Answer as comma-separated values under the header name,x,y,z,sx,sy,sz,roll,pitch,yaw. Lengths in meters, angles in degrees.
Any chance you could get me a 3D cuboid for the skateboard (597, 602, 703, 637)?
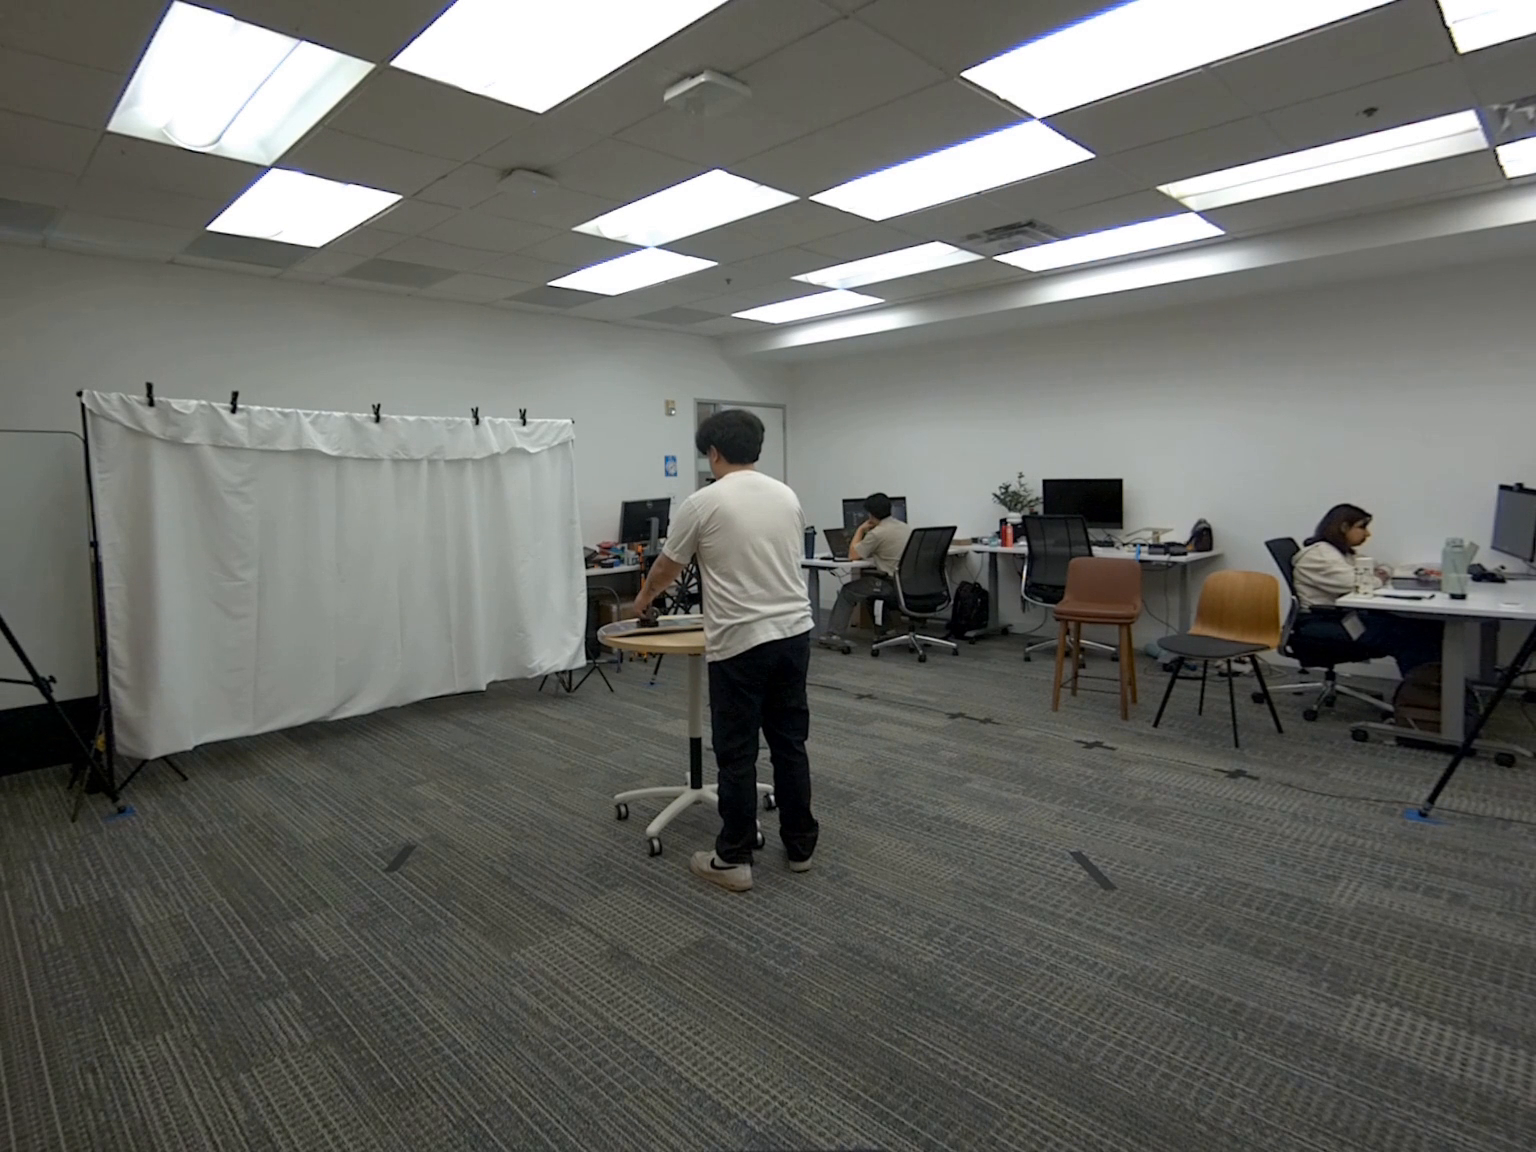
name,x,y,z,sx,sy,sz,roll,pitch,yaw
skateboard,-0.302,0.162,3.469,0.769,0.110,0.198,-4,5,-26
